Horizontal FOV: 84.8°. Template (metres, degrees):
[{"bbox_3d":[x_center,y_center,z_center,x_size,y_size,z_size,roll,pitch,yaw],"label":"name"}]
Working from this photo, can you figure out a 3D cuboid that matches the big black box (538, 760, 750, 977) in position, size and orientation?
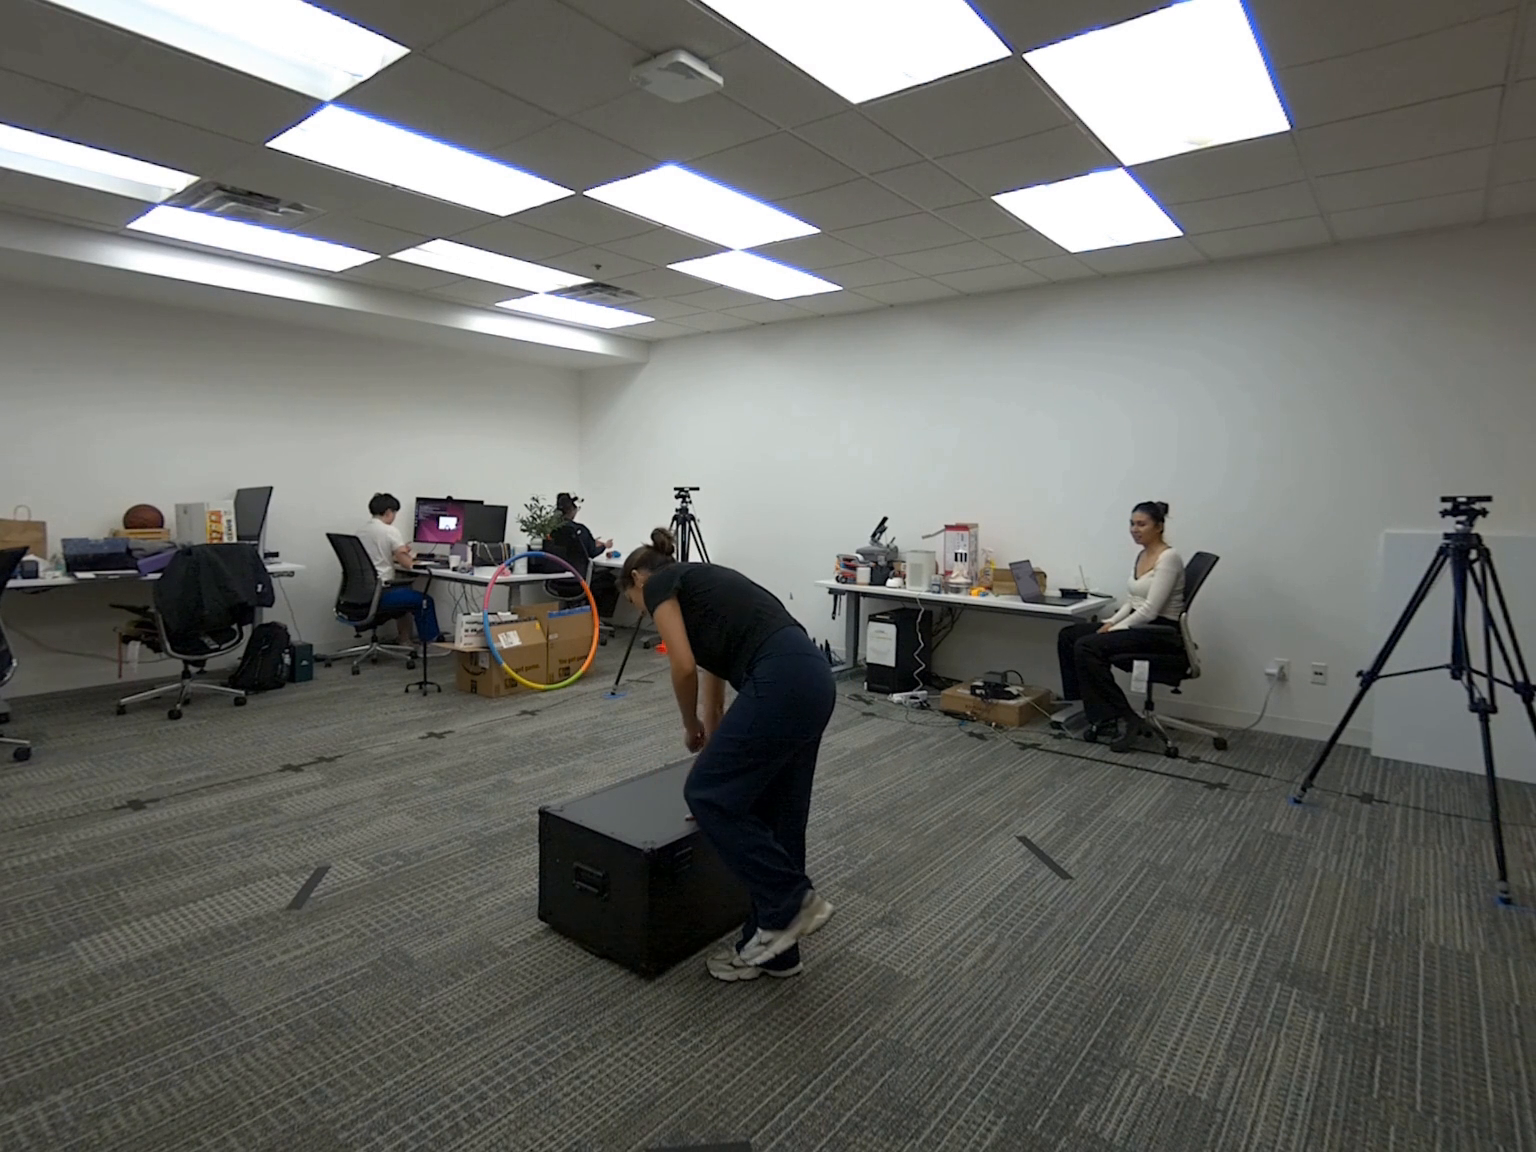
[{"bbox_3d":[-0.271,0.883,2.853,0.539,0.395,0.836,5,6,38],"label":"big black box"}]
